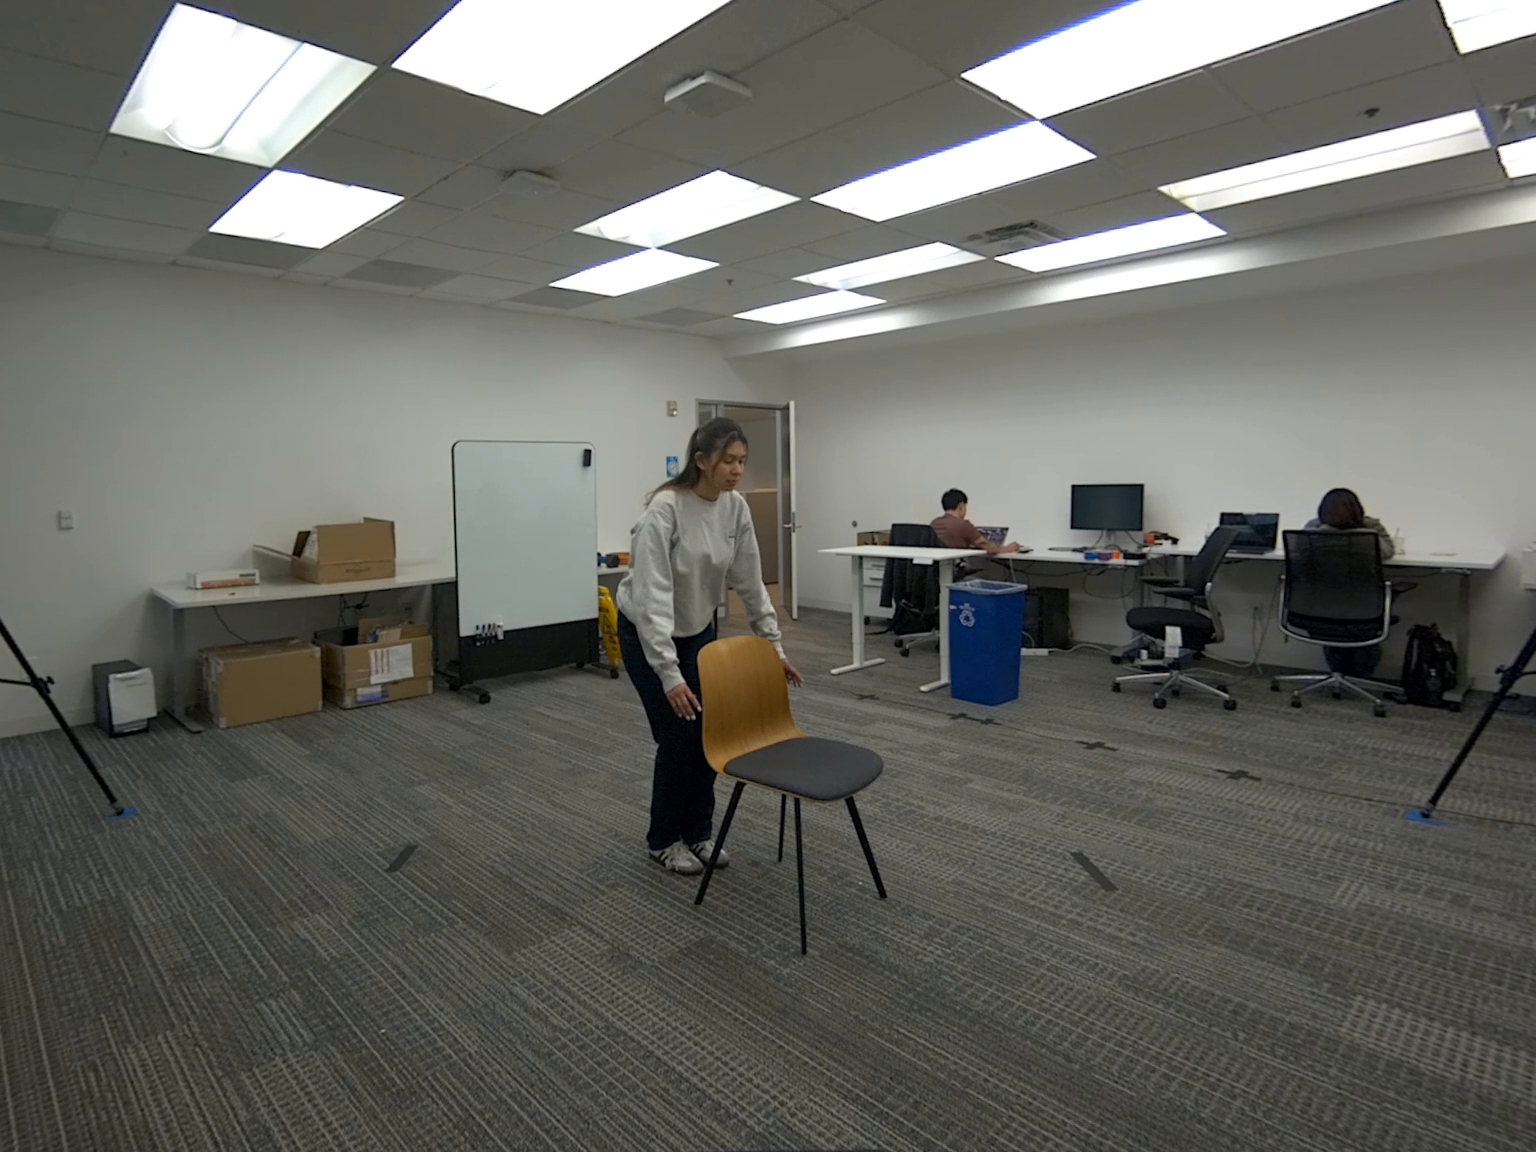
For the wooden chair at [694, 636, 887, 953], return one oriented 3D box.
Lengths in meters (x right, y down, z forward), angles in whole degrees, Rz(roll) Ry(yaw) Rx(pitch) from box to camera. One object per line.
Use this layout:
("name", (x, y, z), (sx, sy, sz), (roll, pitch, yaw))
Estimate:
("wooden chair", (0.077, 0.651, 2.784), (0.537, 0.877, 0.465), (-4, 1, 41))
